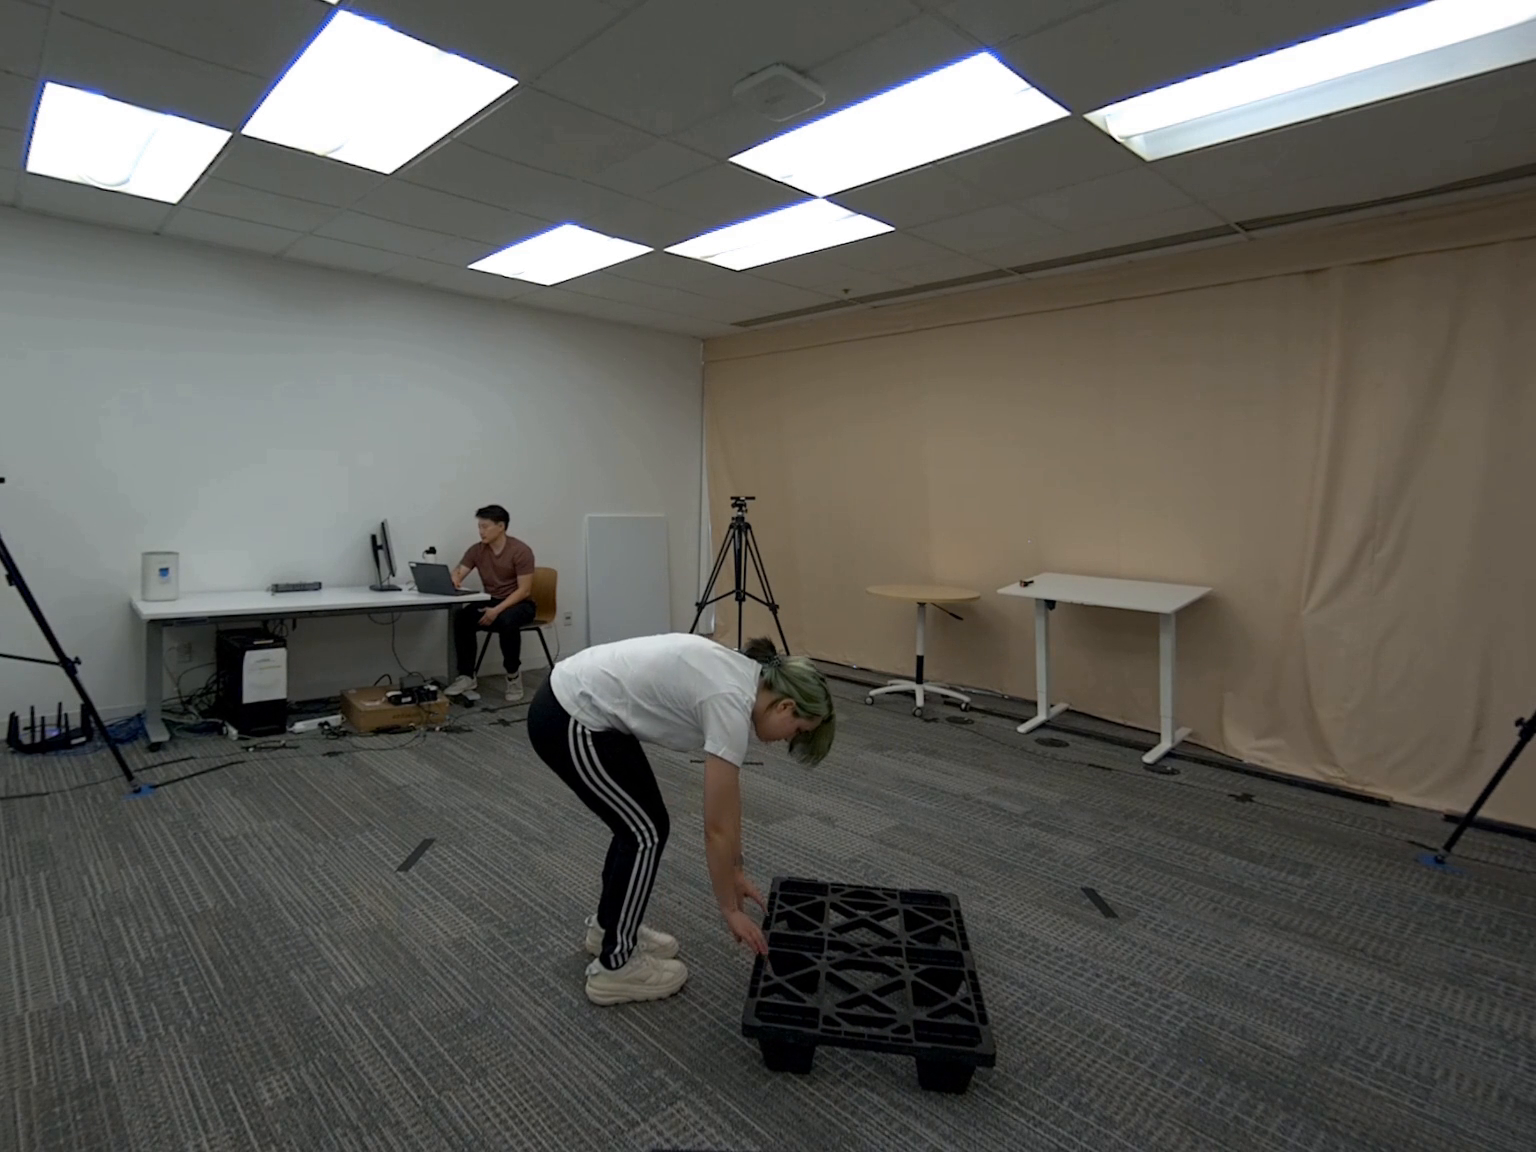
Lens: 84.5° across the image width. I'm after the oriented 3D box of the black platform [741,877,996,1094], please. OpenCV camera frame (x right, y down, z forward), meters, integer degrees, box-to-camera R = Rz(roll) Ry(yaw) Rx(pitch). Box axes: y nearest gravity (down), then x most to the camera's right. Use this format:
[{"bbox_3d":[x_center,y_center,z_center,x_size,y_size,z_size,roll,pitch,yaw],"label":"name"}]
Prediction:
[{"bbox_3d":[0.264,1.112,2.376,0.609,0.143,0.803,3,6,7],"label":"black platform"}]
